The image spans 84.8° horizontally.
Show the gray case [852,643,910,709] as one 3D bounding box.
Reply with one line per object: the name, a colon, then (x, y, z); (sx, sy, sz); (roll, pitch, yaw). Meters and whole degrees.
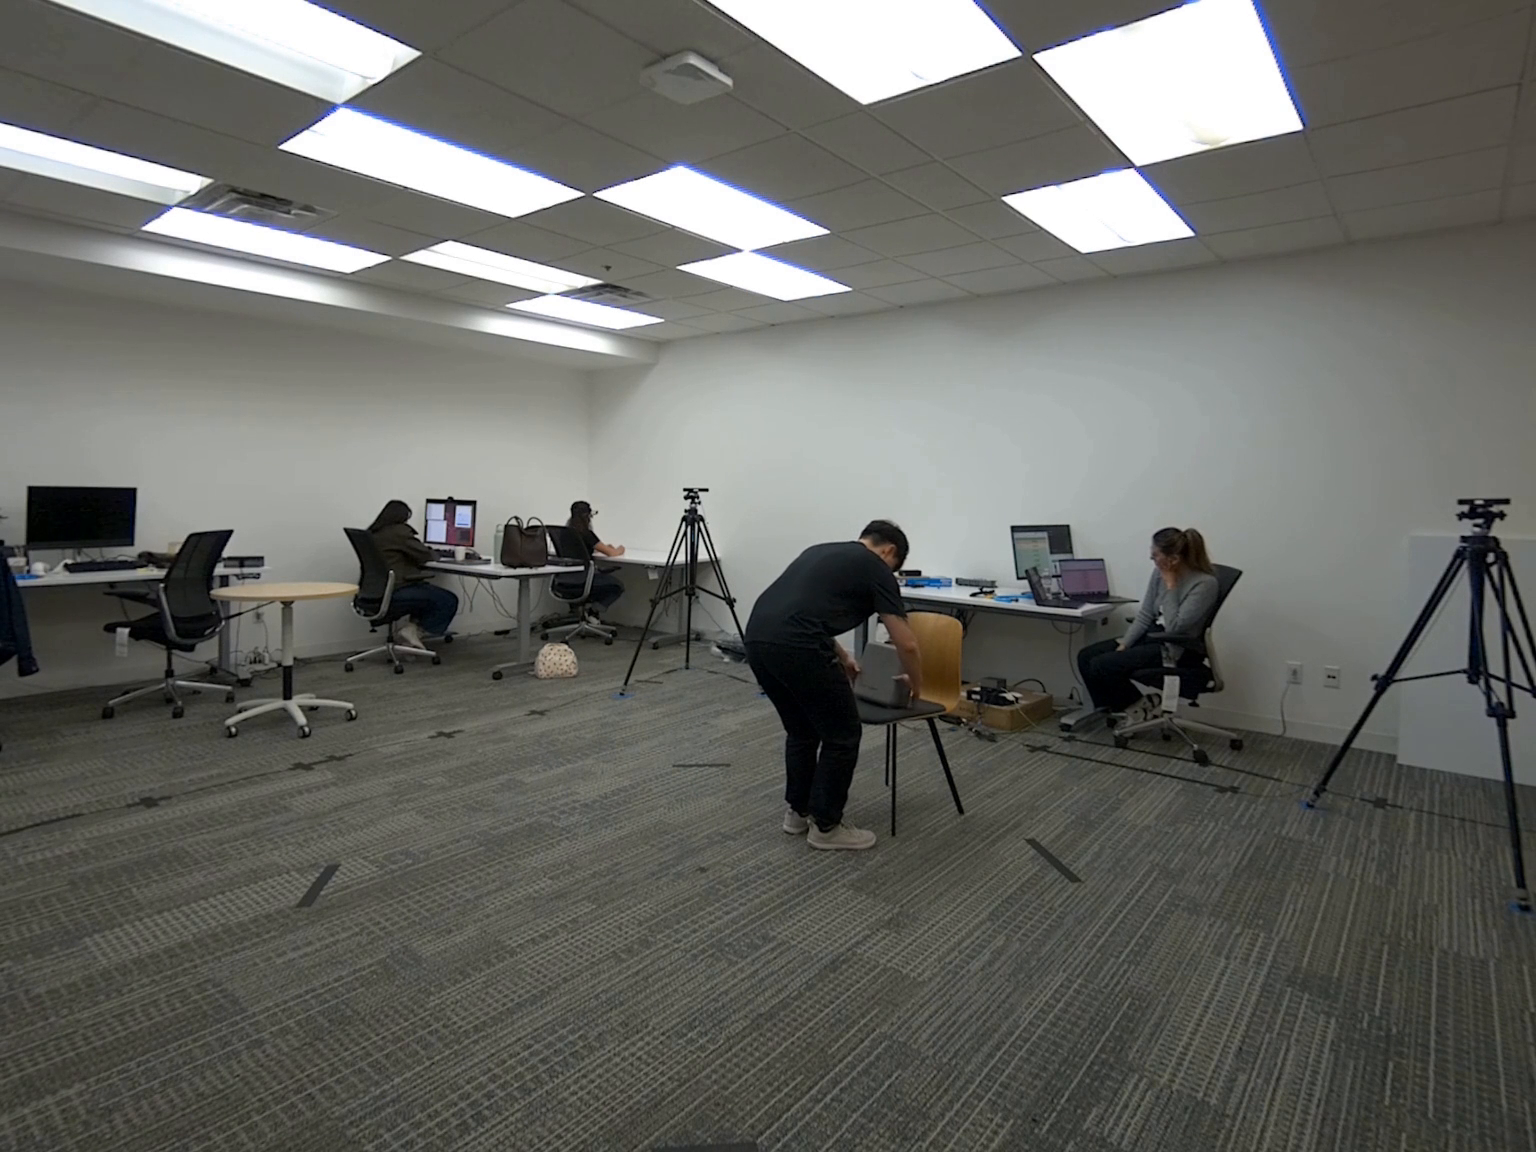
gray case: (0.507, 0.415, 3.691); (0.101, 0.262, 0.264); (20, -7, -28)
